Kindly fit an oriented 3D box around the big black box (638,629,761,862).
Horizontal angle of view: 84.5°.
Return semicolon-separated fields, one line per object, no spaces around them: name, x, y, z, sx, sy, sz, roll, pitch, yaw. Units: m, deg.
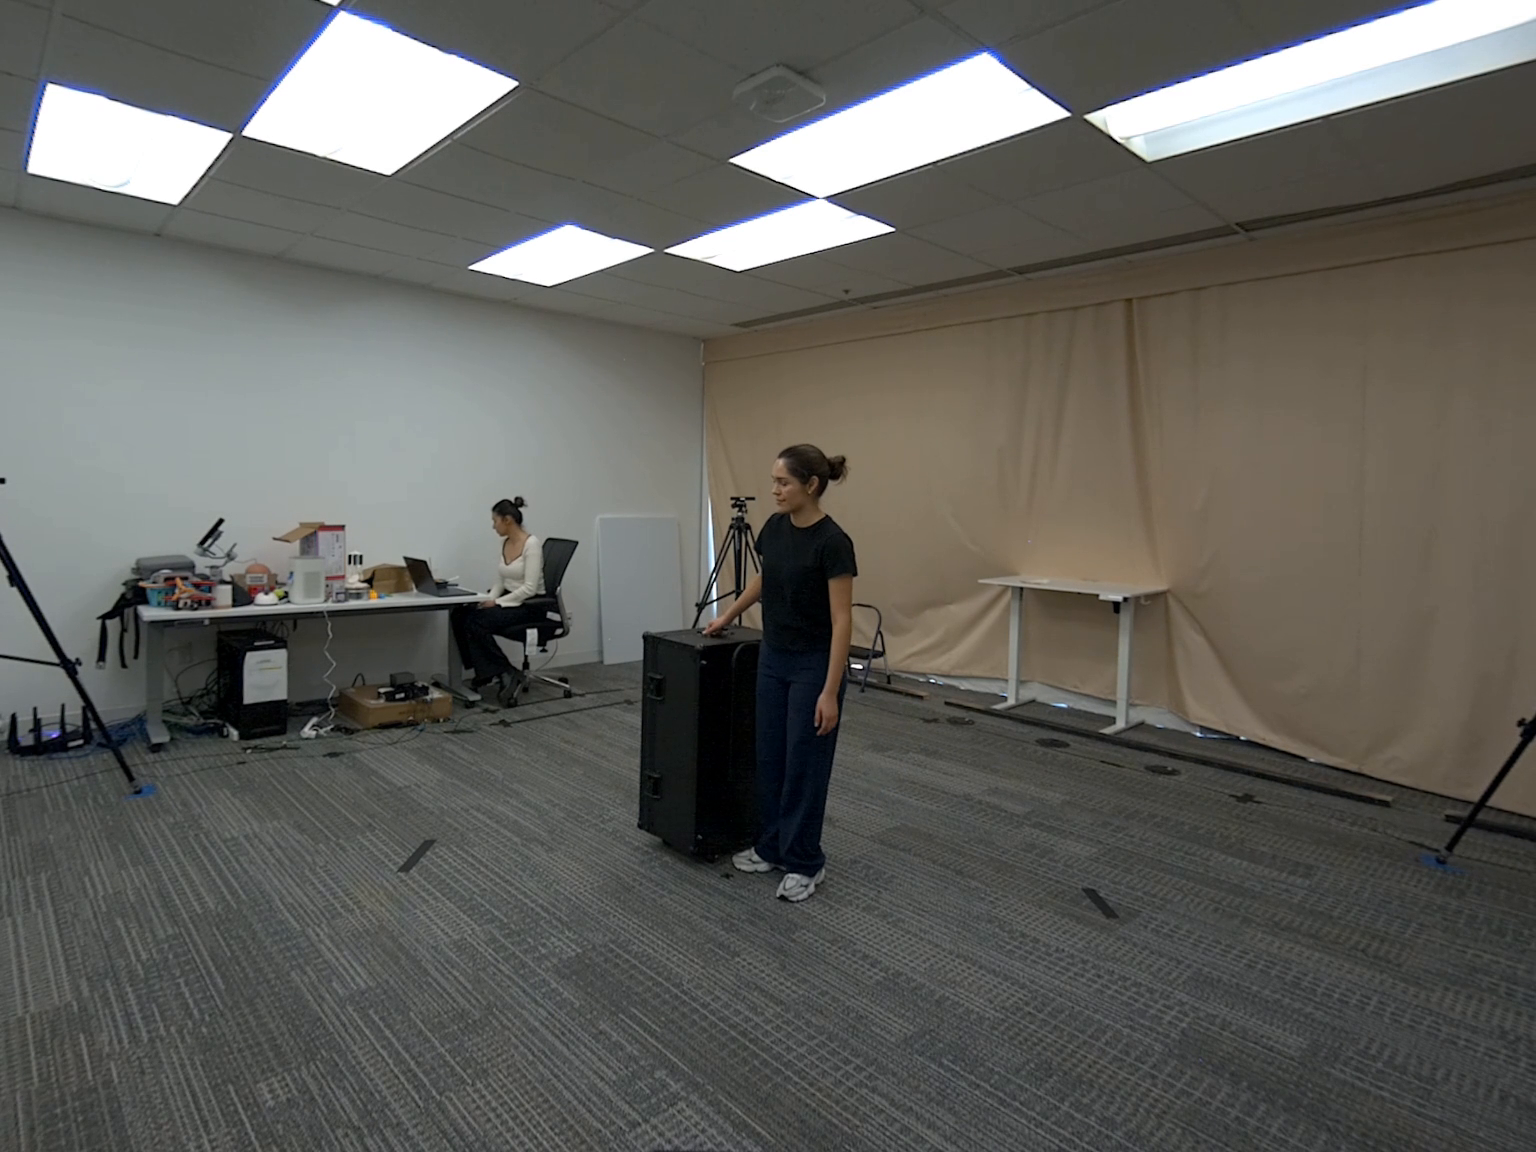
big black box;-0.207;0.661;3.353;0.509;0.859;0.406;-1;5;-44
